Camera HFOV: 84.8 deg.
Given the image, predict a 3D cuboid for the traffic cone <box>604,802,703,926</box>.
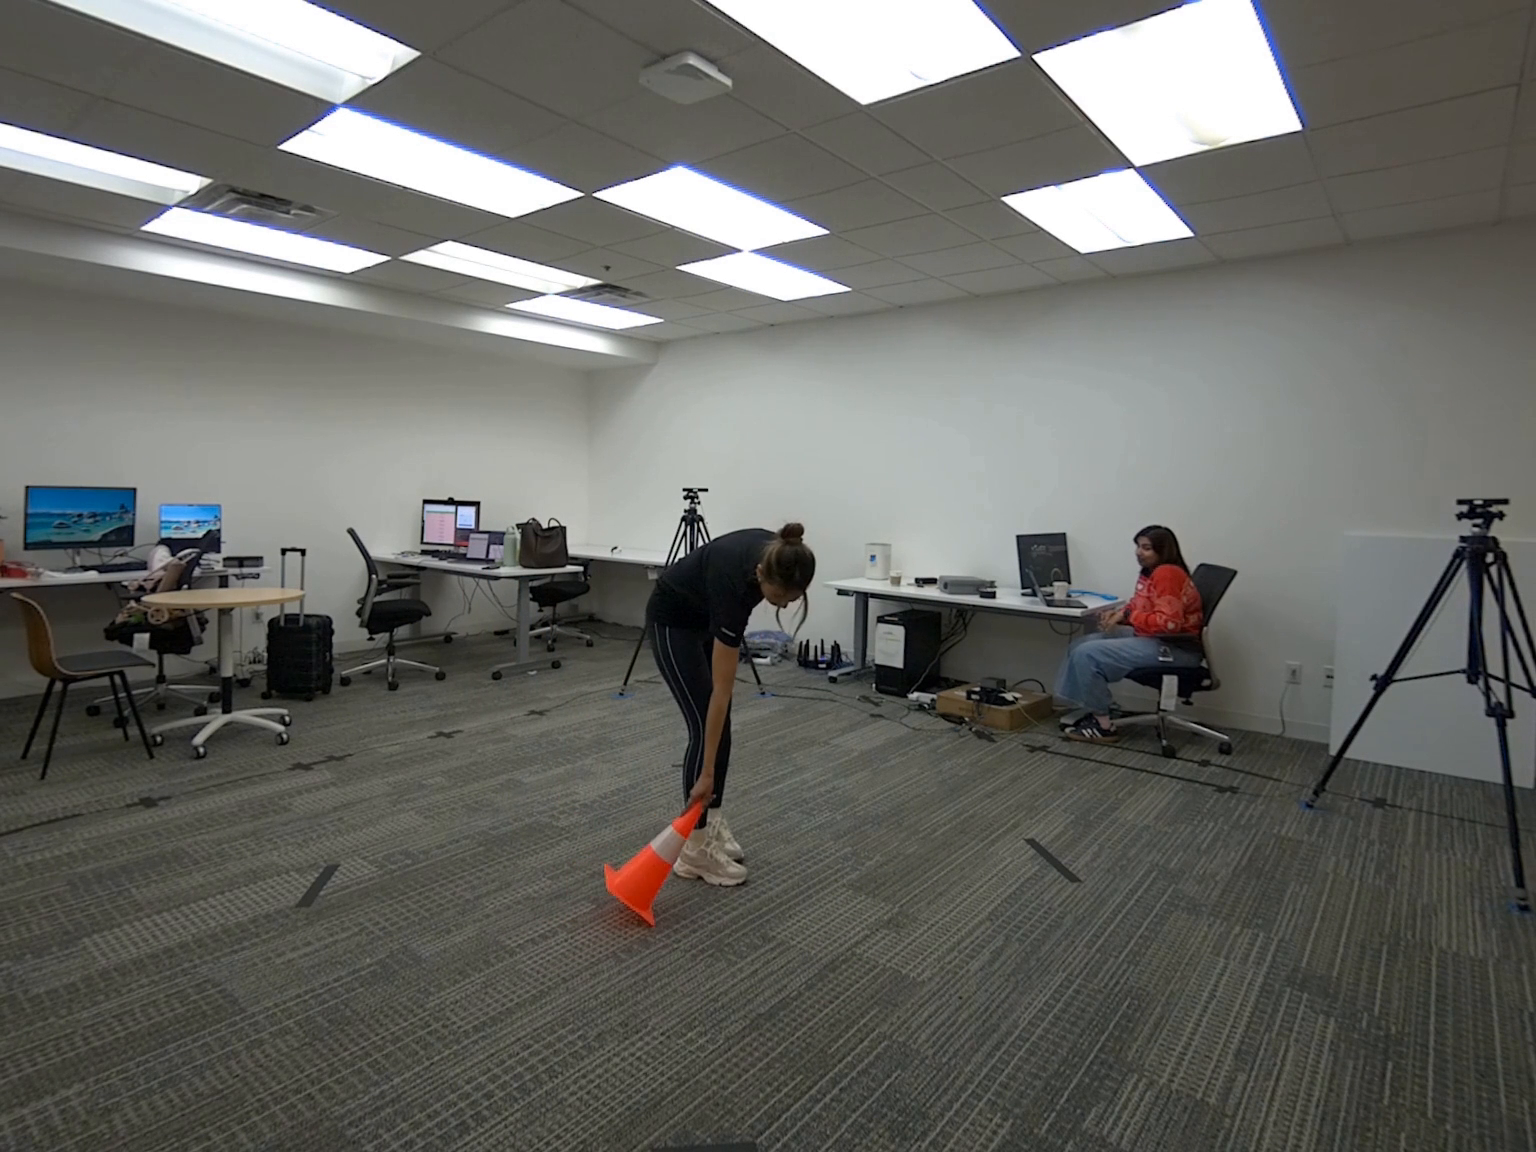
[{"bbox_3d":[-0.344,0.894,2.781,0.202,0.383,0.206,44,-5,-11],"label":"traffic cone"}]
